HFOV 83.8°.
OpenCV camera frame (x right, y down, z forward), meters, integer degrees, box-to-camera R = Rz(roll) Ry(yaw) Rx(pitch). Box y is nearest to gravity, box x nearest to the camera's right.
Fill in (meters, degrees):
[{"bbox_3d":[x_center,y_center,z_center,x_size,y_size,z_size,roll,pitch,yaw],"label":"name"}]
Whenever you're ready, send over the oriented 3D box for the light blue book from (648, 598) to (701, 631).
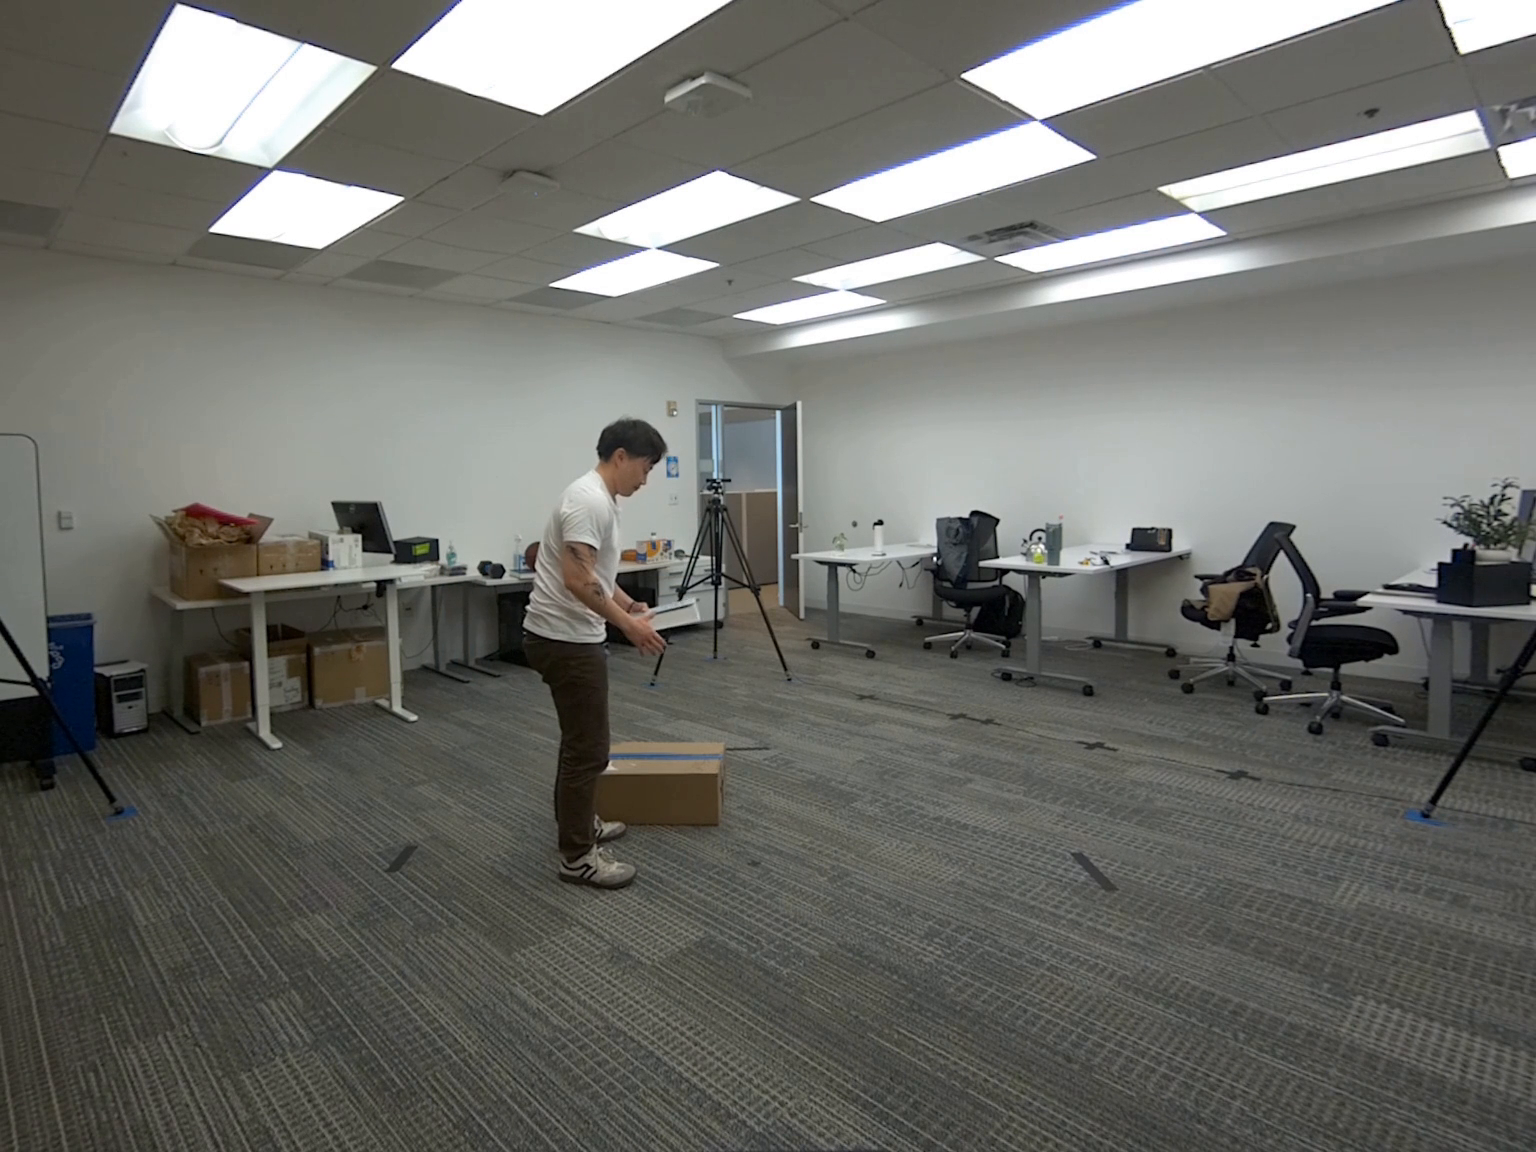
[{"bbox_3d":[-0.397,0.158,3.121,0.260,0.059,0.193,-12,5,-4],"label":"light blue book"}]
